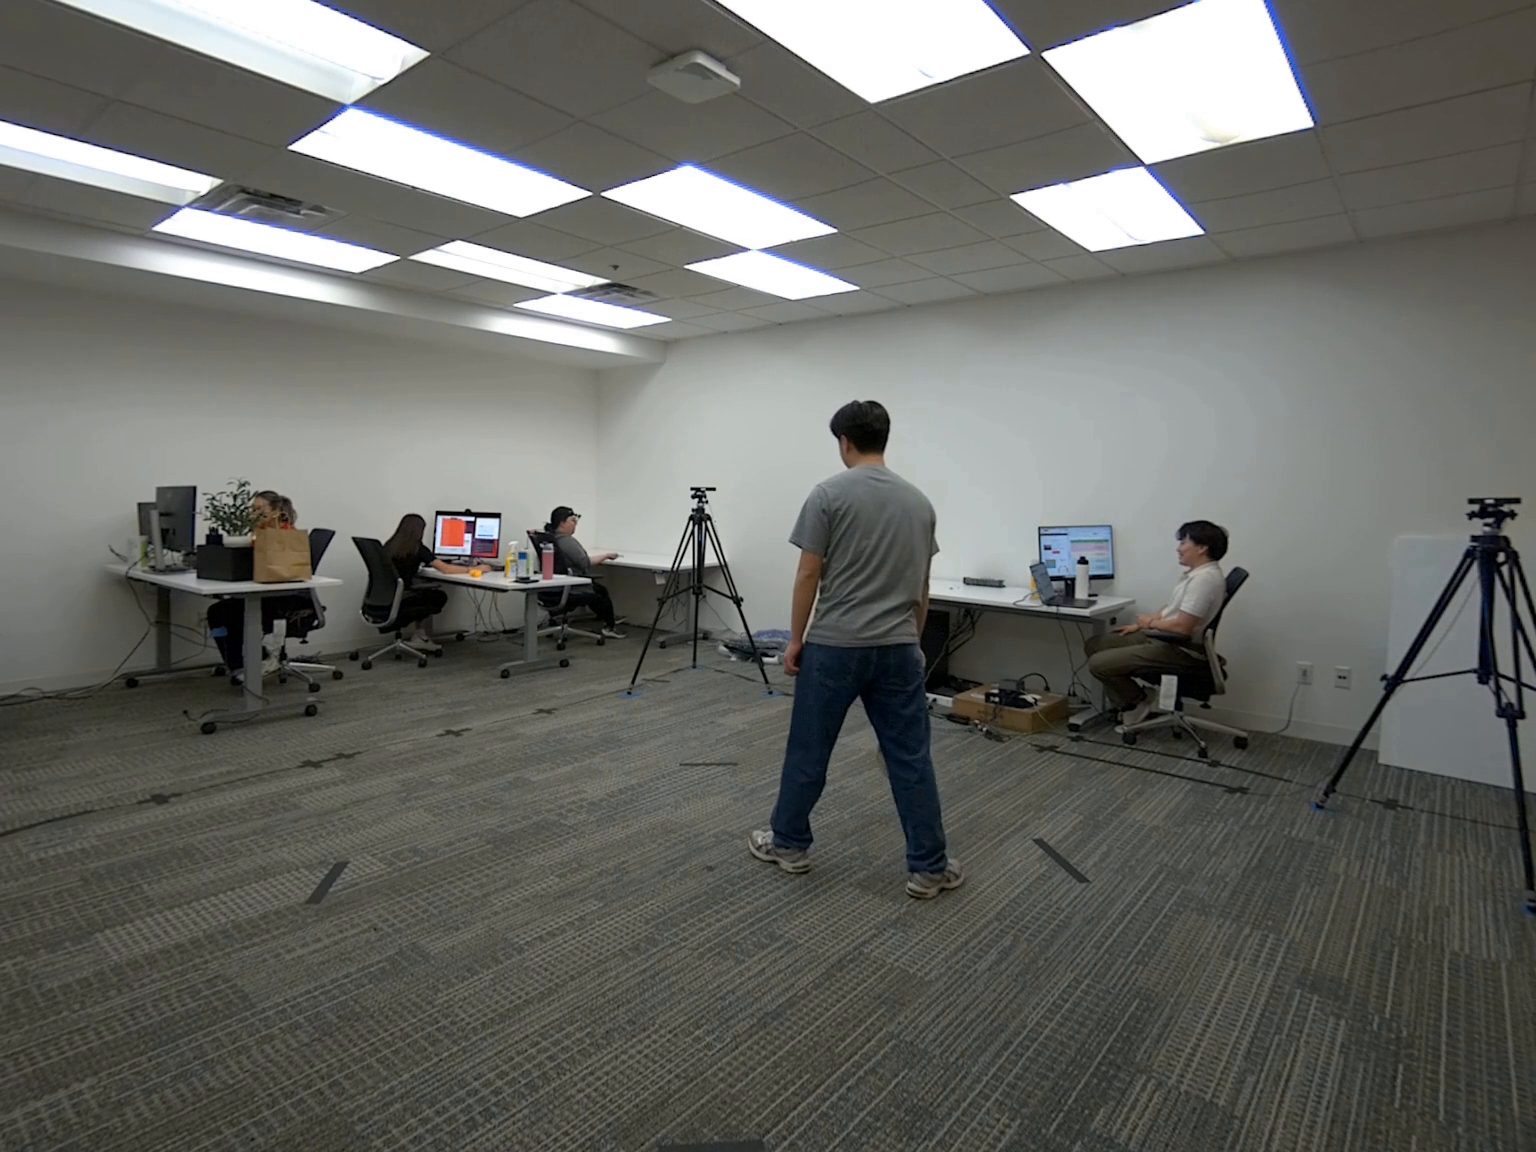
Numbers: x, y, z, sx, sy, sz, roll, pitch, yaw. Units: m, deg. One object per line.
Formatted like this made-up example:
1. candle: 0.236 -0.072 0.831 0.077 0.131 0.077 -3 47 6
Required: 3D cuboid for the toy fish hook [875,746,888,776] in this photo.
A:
1. toy fish hook: 0.516 0.540 3.208 0.233 0.500 0.047 23 21 38
